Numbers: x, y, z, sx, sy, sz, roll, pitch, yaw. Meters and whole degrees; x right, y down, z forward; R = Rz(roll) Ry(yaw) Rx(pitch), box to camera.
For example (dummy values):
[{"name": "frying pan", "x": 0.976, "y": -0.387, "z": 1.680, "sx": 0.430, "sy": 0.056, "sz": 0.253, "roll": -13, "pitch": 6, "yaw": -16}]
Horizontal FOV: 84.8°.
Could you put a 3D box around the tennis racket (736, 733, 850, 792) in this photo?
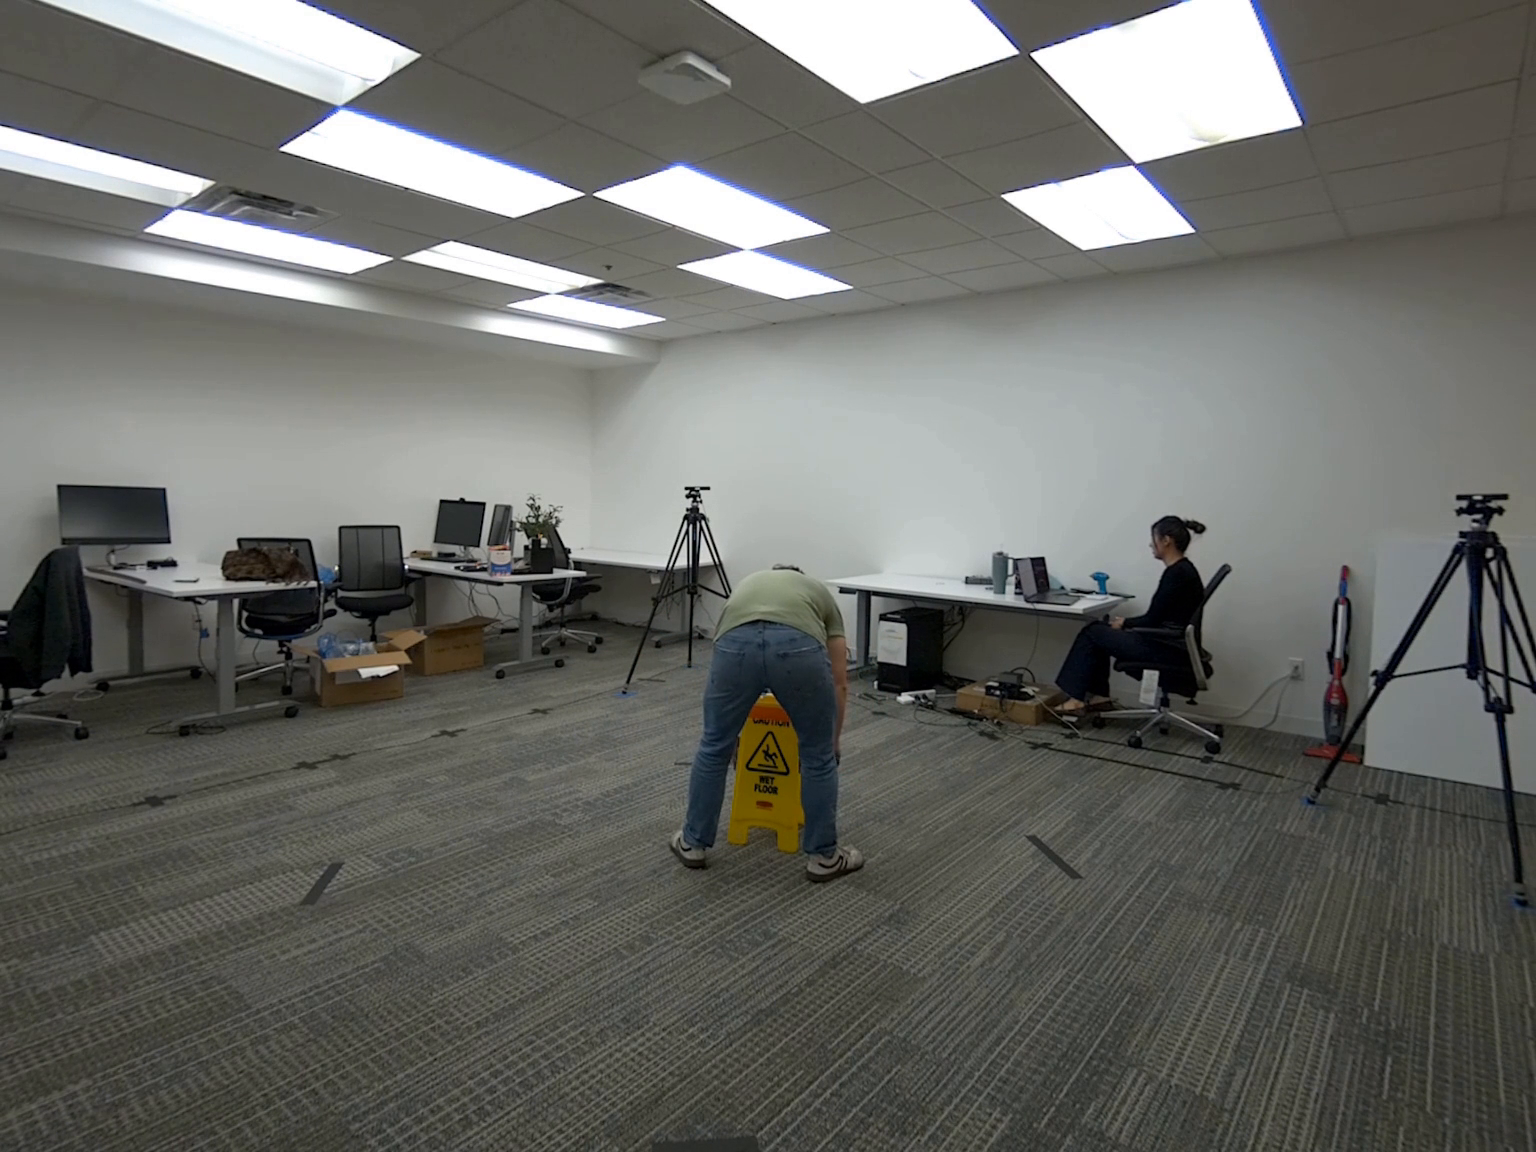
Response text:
[{"name": "tennis racket", "x": 0.090, "y": 0.743, "z": 3.393, "sx": 0.440, "sy": 0.212, "sz": 0.031, "roll": -11, "pitch": 7, "yaw": 20}]
